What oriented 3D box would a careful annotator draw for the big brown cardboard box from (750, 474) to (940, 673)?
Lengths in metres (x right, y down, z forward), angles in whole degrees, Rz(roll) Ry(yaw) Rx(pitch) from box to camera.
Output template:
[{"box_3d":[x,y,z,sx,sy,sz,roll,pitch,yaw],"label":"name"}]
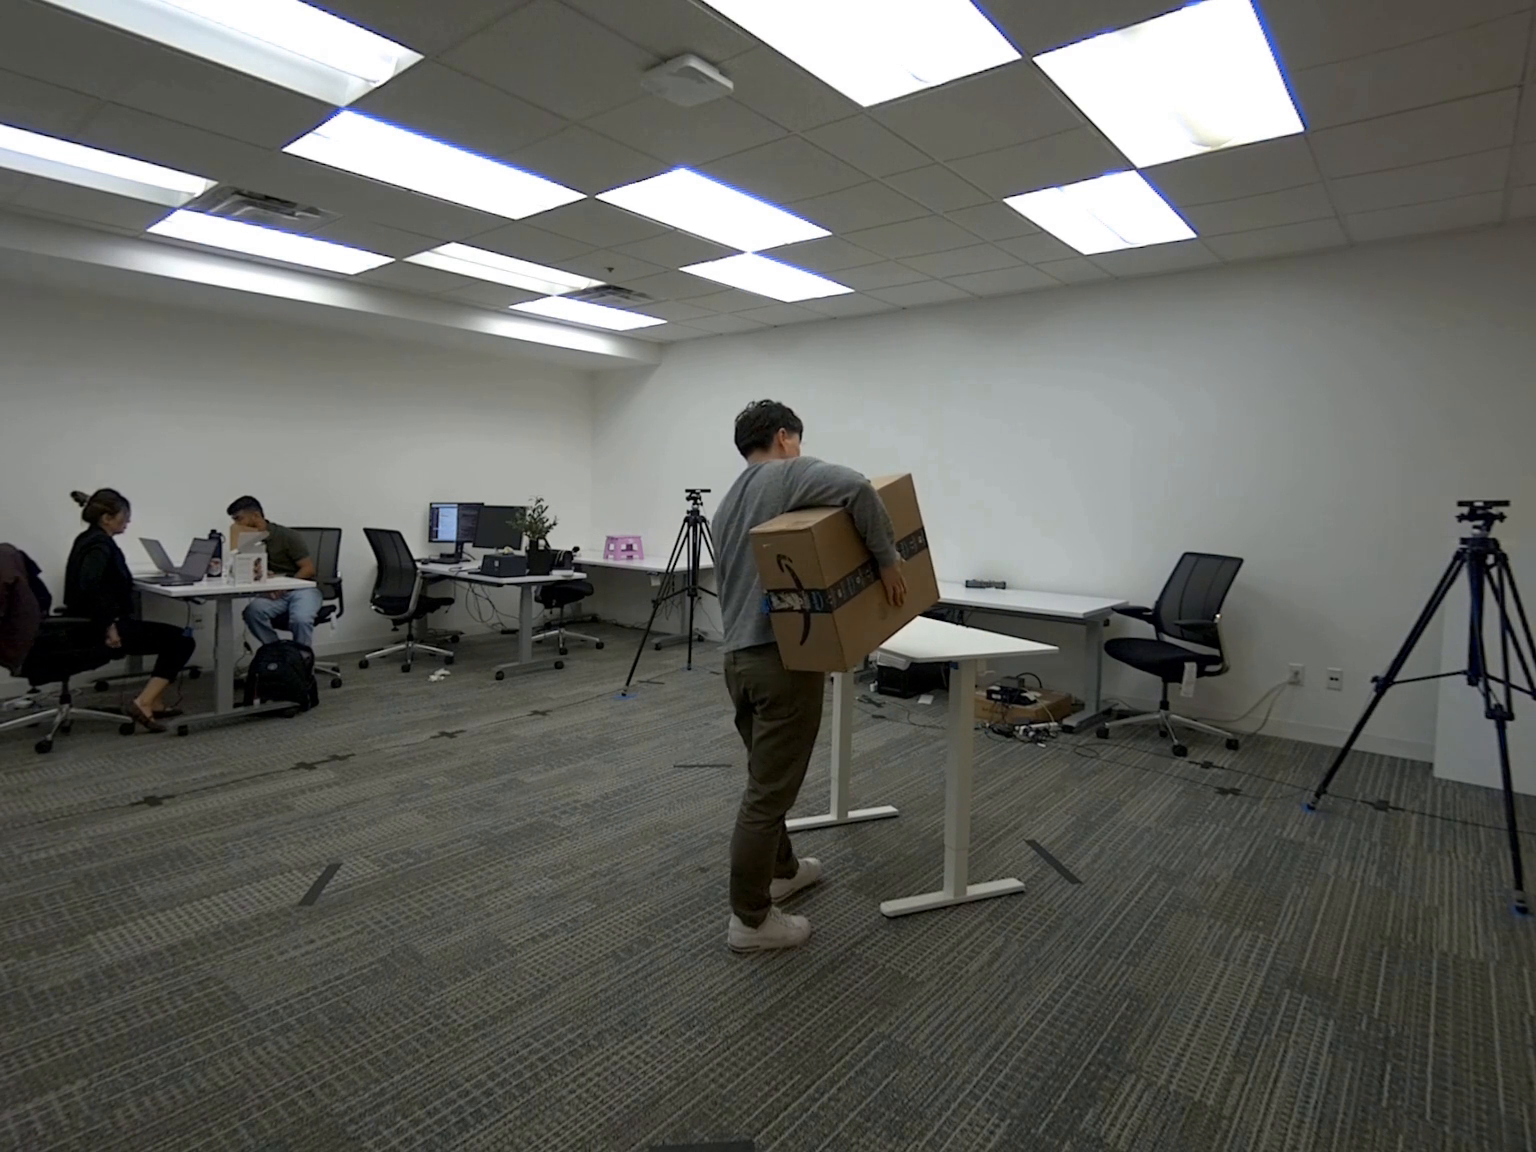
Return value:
[{"box_3d":[0.230,-0.023,2.511,0.240,0.412,0.579,-4,16,42],"label":"big brown cardboard box"}]
